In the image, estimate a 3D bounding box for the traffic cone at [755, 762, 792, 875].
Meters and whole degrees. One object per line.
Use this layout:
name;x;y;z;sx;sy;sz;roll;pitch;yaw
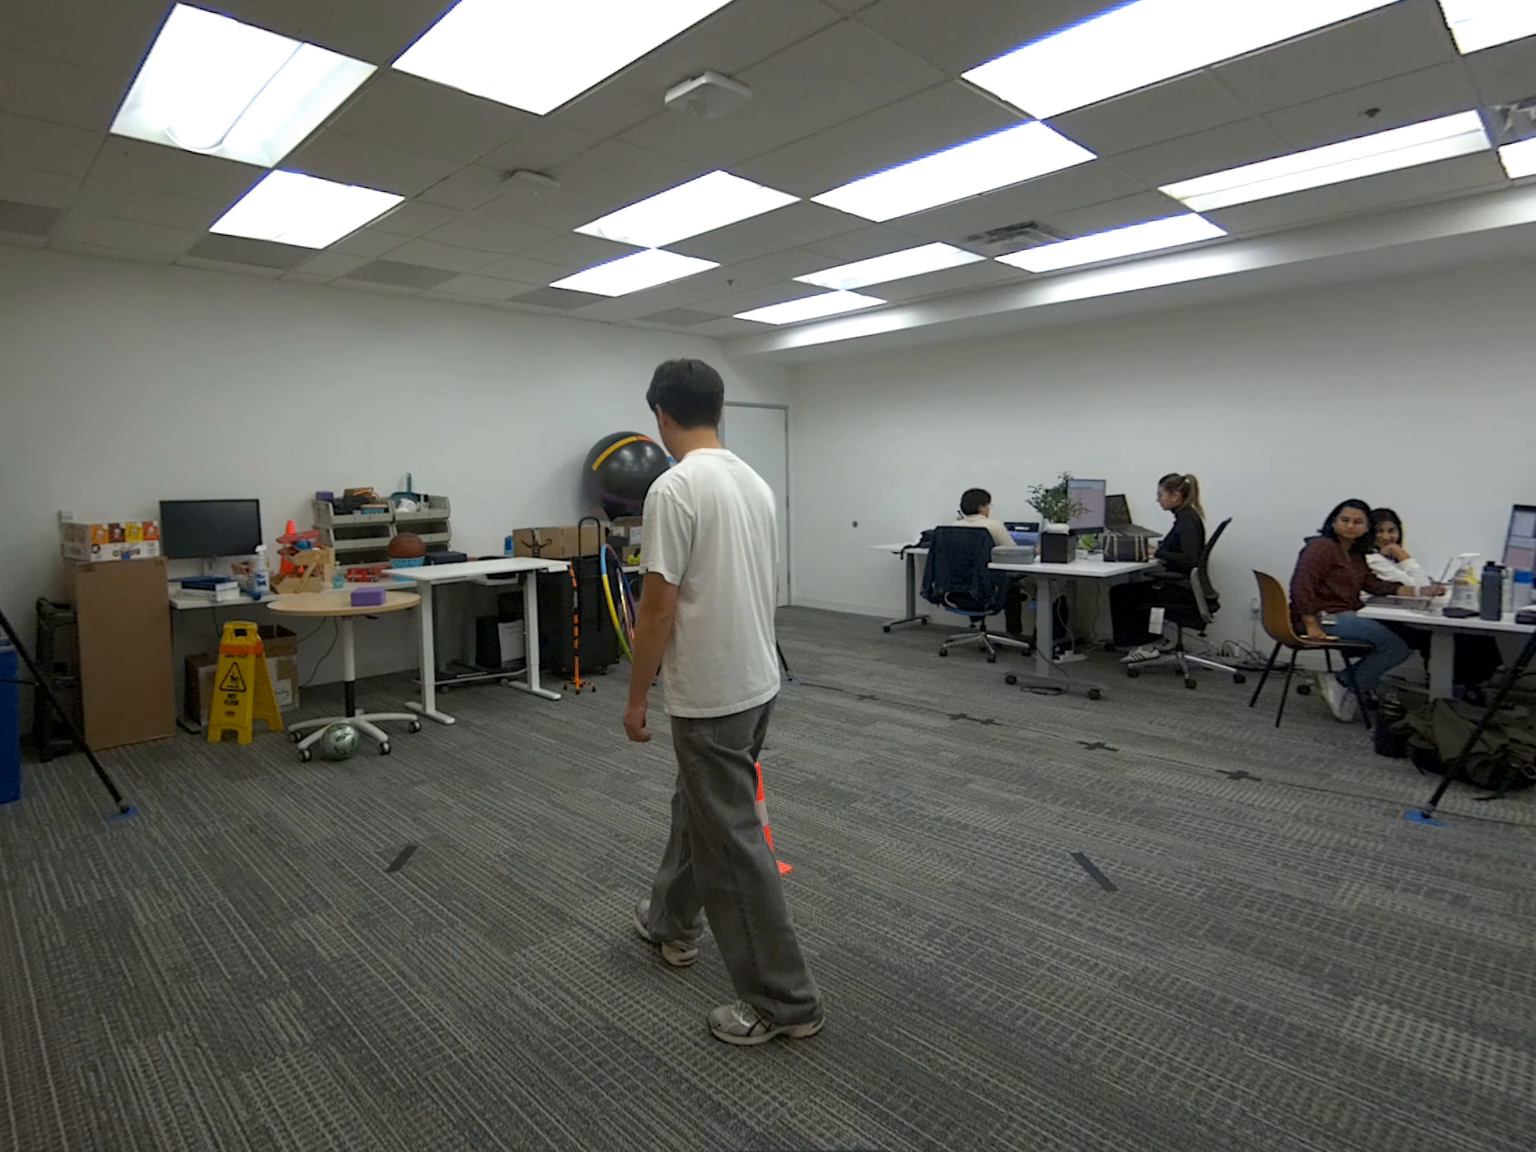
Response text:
traffic cone;-0.040;0.866;3.069;0.198;0.383;0.211;-2;4;-40
